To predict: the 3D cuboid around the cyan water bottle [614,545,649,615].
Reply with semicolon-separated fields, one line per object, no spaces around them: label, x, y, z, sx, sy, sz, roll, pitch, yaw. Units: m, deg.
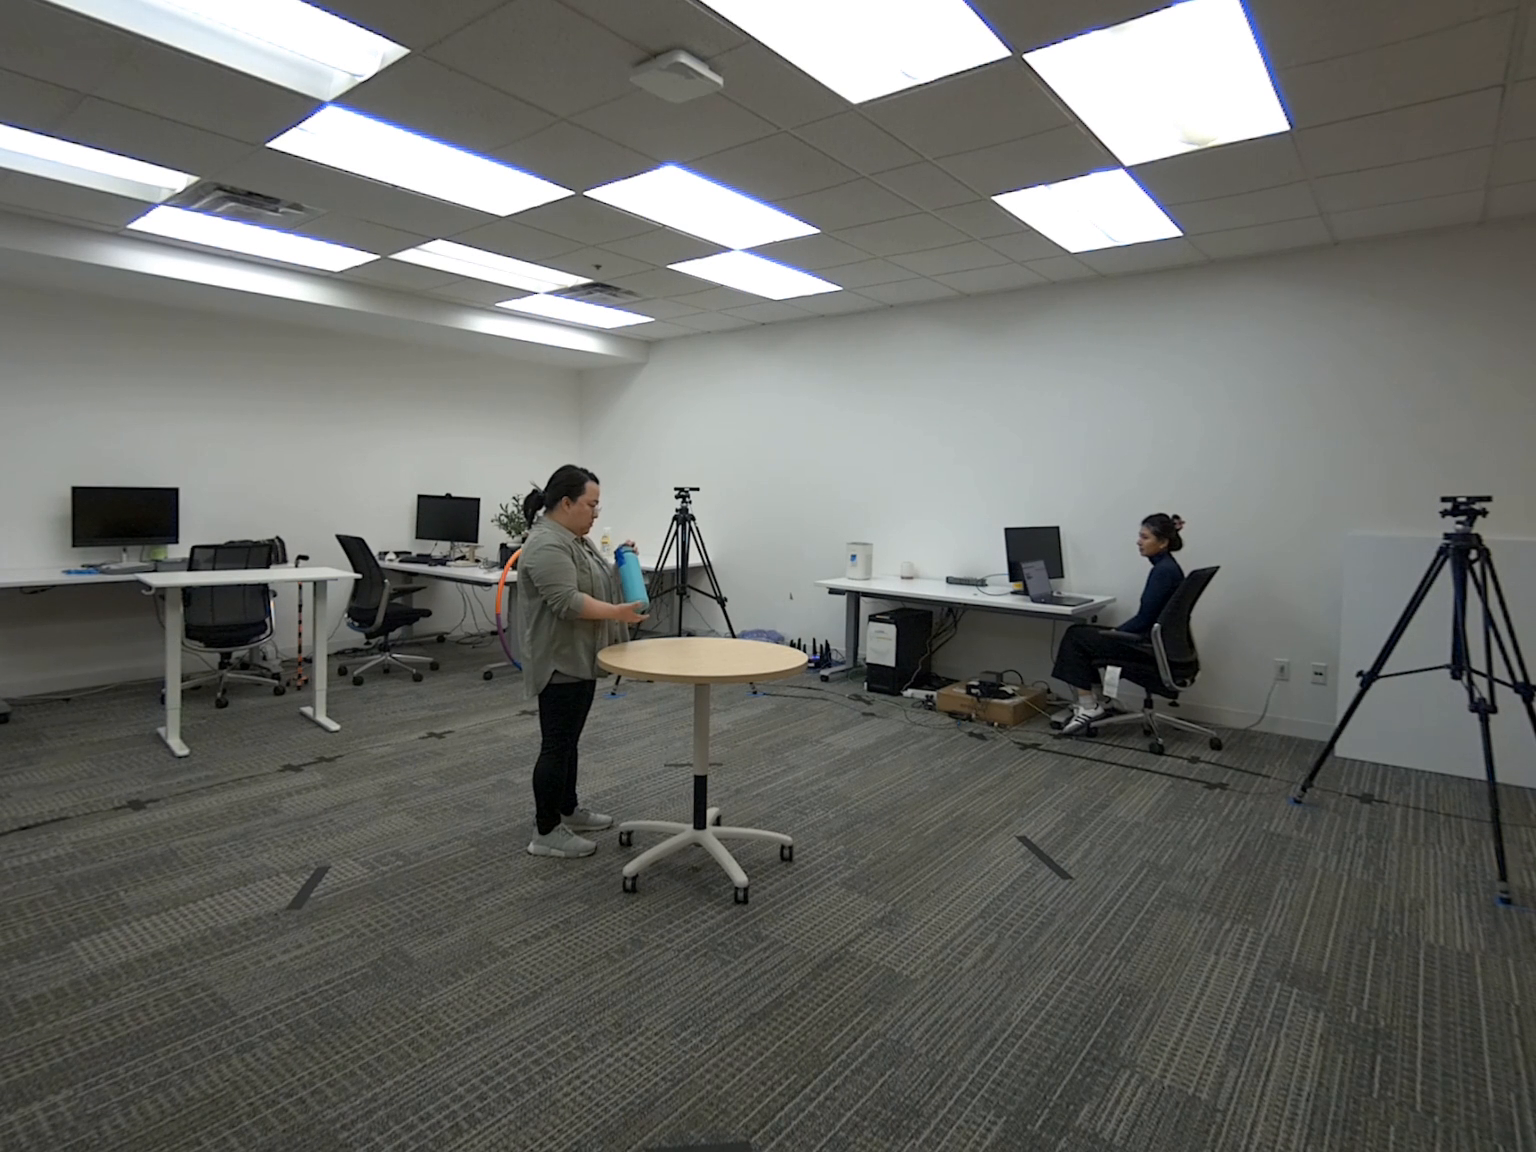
cyan water bottle;-0.555;-0.001;3.343;0.092;0.291;0.090;-12;-23;-7
